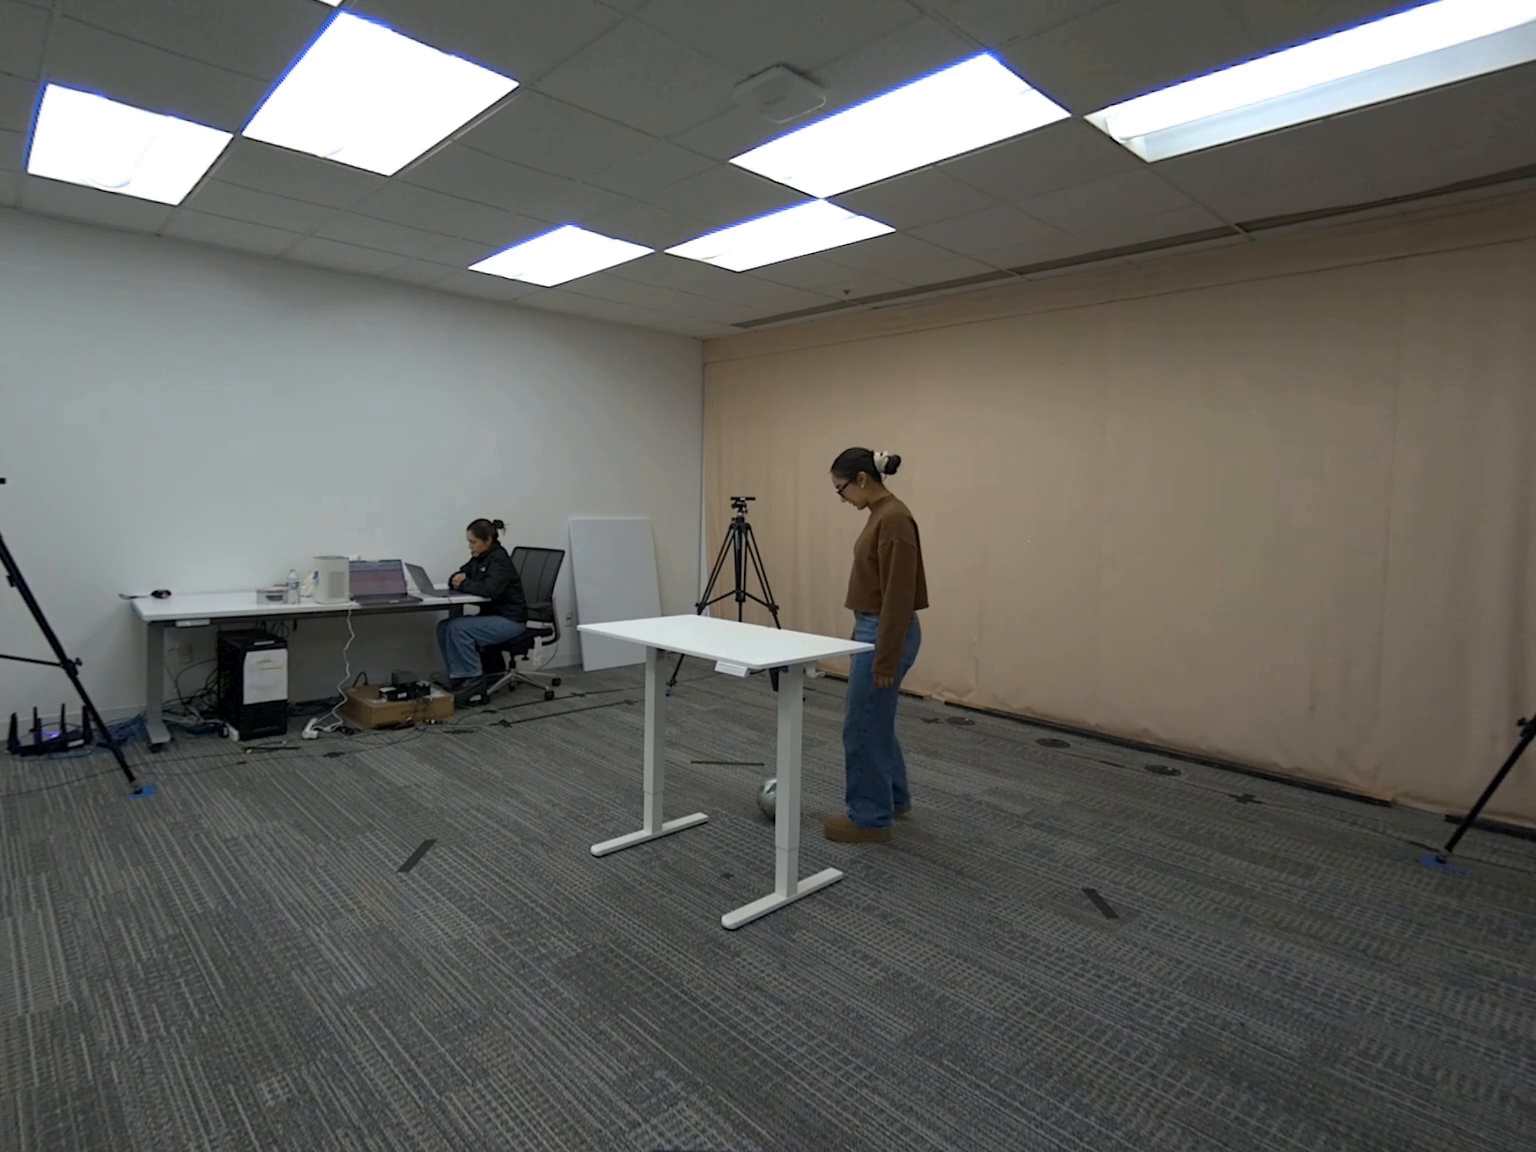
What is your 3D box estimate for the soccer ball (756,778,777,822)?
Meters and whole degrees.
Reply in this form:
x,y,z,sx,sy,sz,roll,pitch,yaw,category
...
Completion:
x,y,z,sx,sy,sz,roll,pitch,yaw,category
0.037,0.975,3.683,0.187,0.187,0.188,1,4,-1,soccer ball
